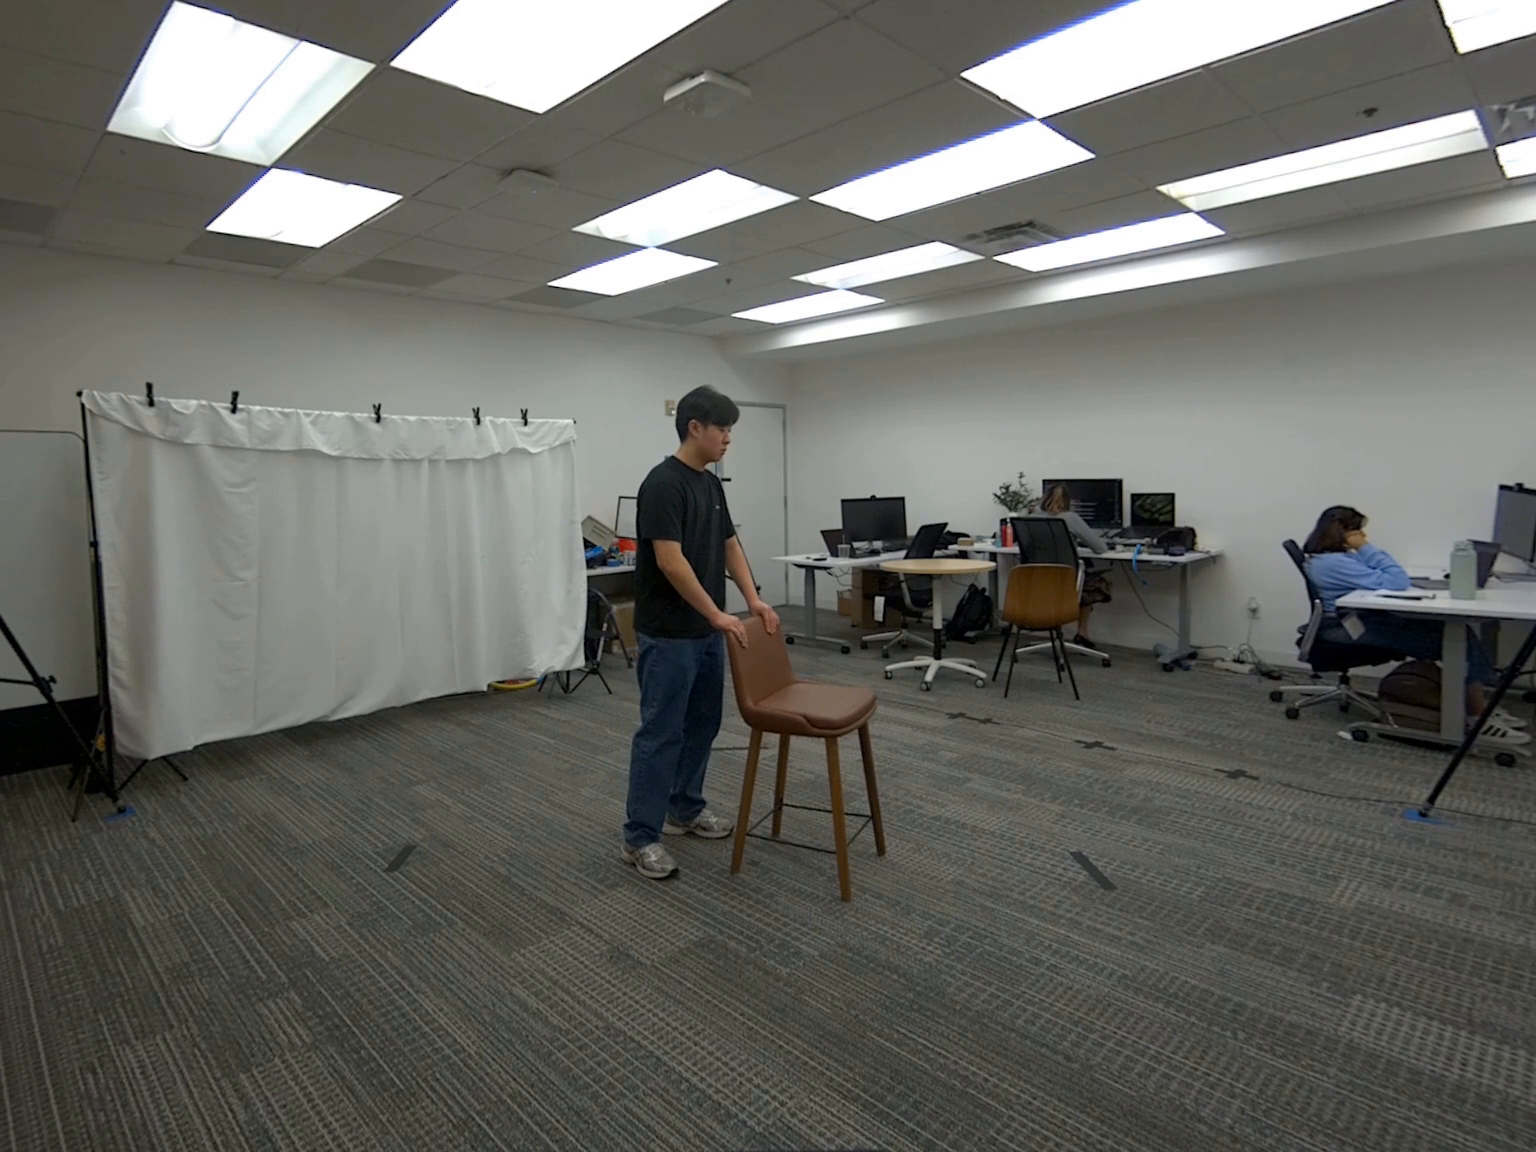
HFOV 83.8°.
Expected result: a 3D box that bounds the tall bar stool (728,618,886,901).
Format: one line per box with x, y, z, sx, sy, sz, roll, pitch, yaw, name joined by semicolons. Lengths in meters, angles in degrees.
0.135;0.602;3.062;0.479;0.887;0.447;-1;3;28;tall bar stool
